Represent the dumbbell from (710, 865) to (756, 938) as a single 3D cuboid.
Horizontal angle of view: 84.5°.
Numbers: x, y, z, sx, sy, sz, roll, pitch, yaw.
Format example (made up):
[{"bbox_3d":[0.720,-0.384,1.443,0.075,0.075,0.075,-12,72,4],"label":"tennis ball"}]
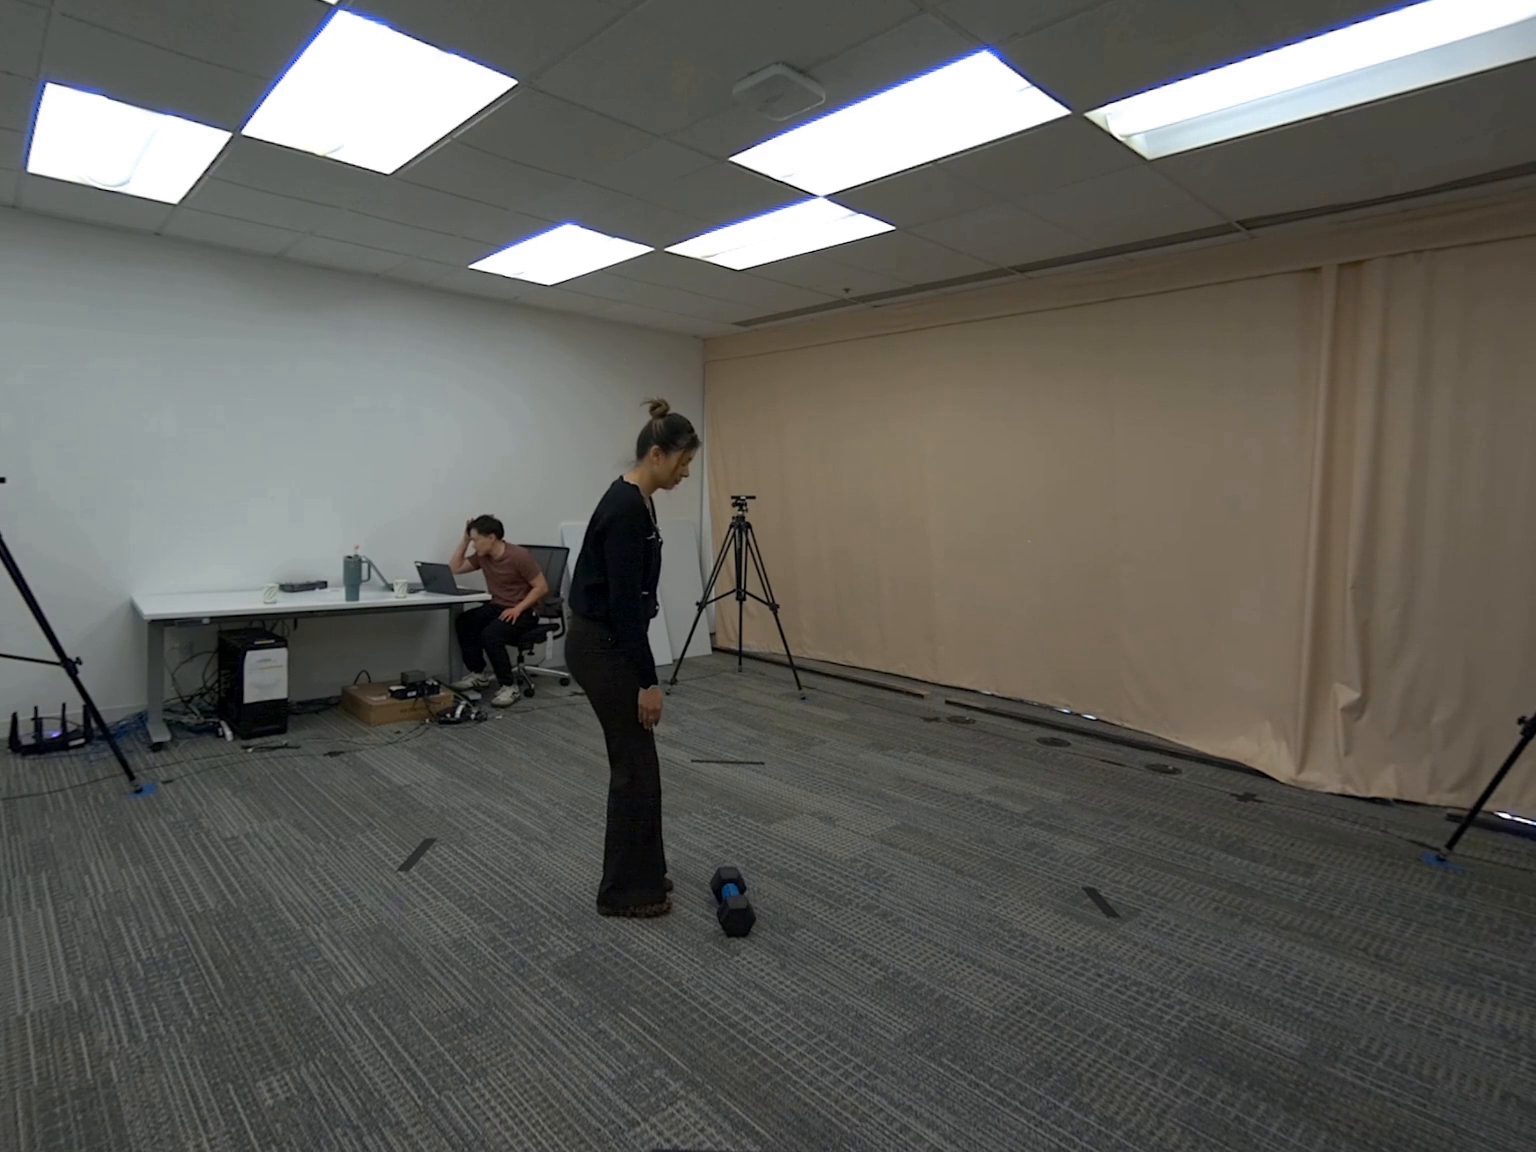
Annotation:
[{"bbox_3d":[-0.128,1.079,2.790,0.108,0.123,0.296,31,0,-10],"label":"dumbbell"}]
